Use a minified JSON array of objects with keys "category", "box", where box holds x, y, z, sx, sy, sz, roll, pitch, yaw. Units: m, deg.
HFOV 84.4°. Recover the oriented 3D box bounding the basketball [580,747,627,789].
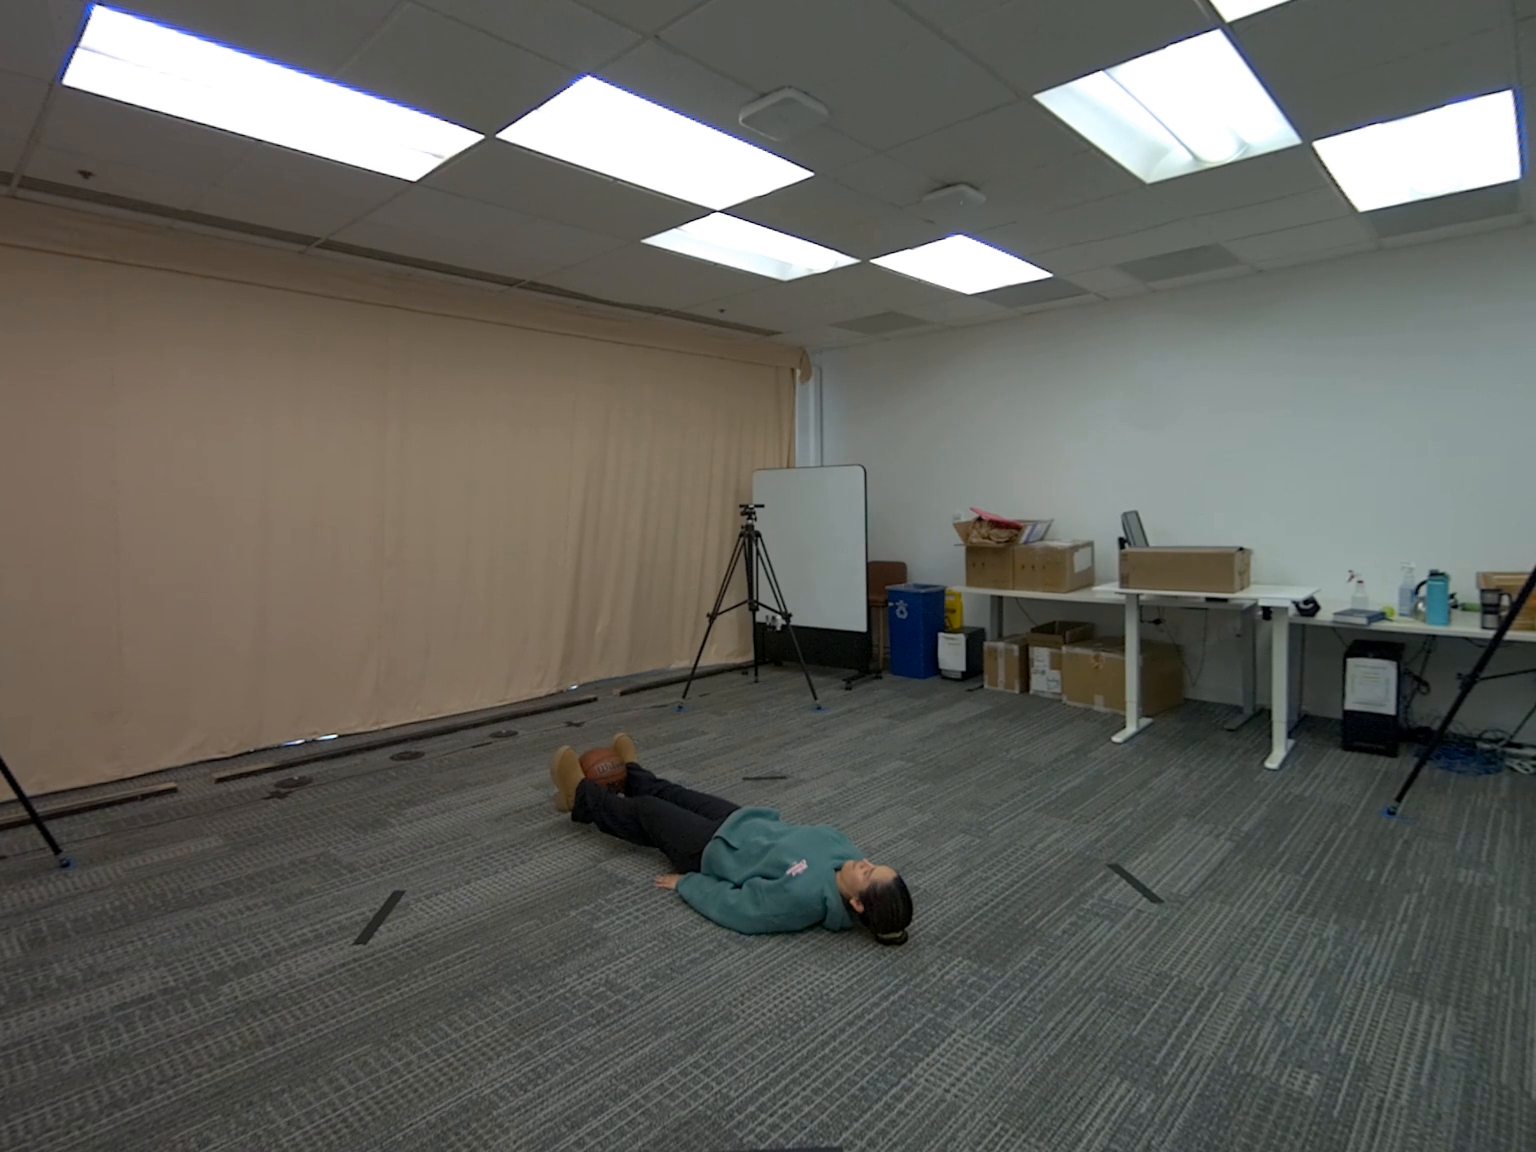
[{"category":"basketball","box":[-0.748,0.877,3.745,0.236,0.235,0.237,0,4,-2]}]
